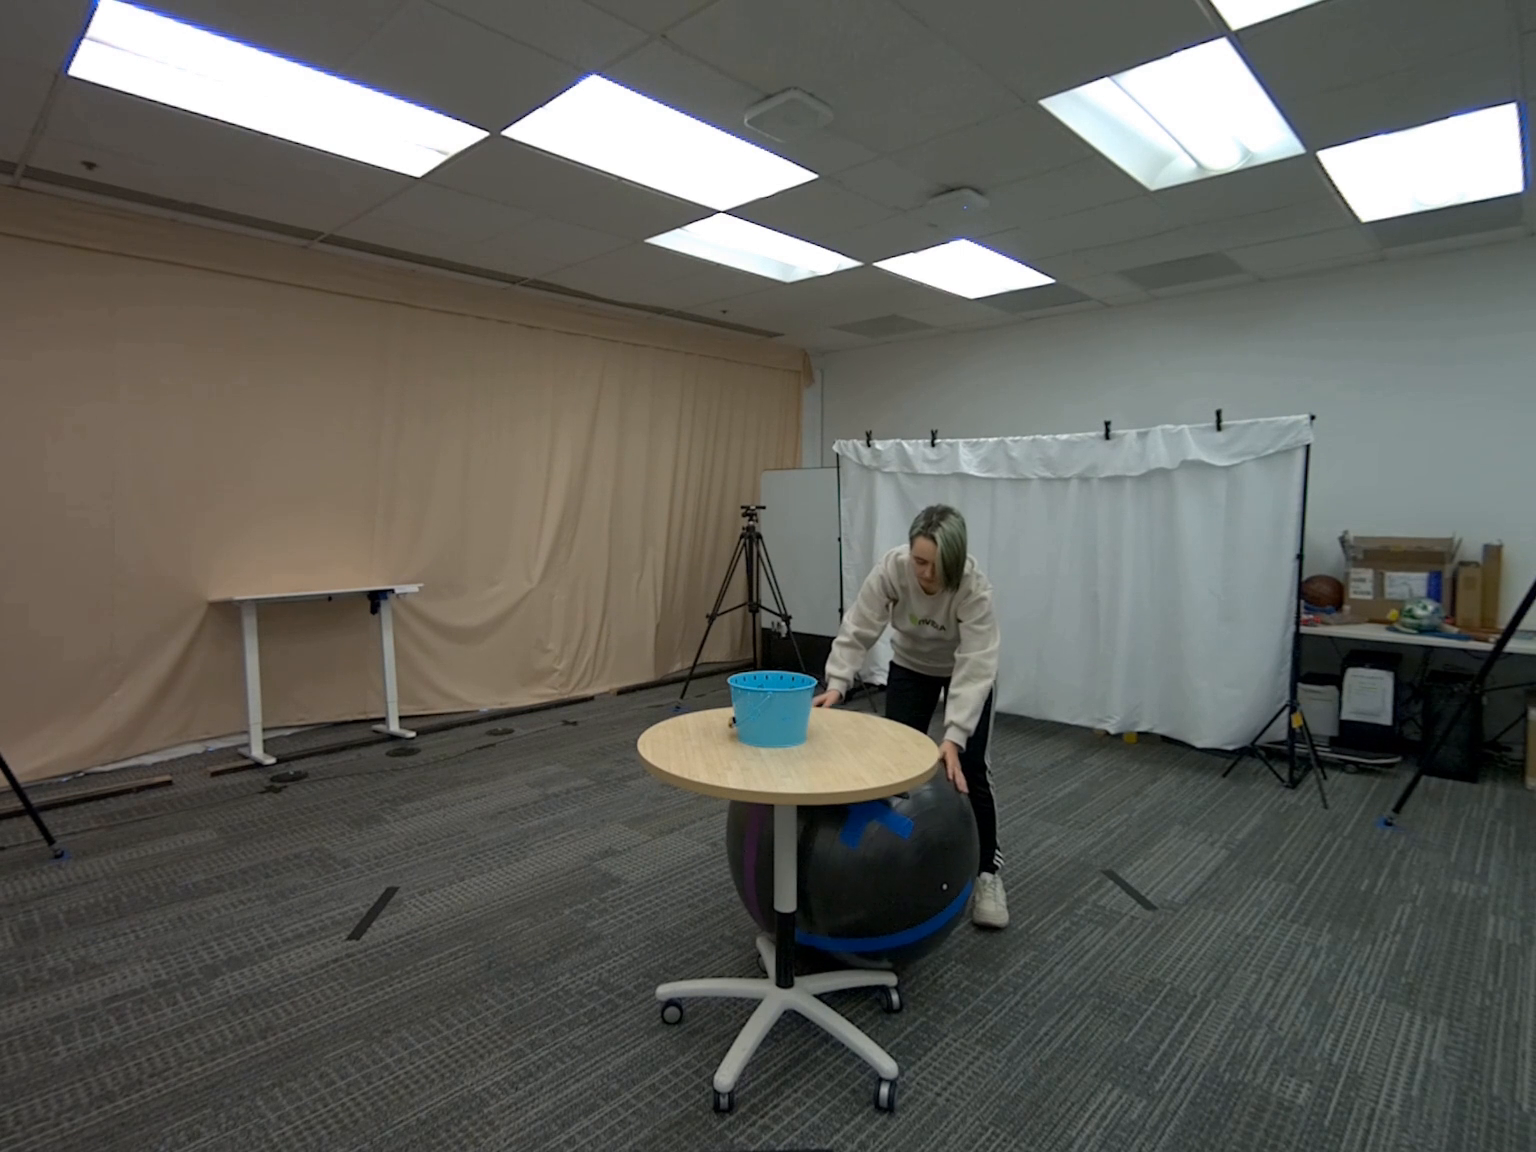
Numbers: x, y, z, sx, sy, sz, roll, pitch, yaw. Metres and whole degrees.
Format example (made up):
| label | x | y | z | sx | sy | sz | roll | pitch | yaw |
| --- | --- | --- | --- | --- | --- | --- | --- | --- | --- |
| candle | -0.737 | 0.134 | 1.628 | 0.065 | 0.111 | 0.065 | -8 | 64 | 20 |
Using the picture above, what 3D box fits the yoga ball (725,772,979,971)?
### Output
| label | x | y | z | sx | sy | sz | roll | pitch | yaw |
| --- | --- | --- | --- | --- | --- | --- | --- | --- | --- |
| yoga ball | 0.254 | 0.800 | 2.576 | 0.757 | 0.756 | 0.761 | 0 | 4 | -2 |
